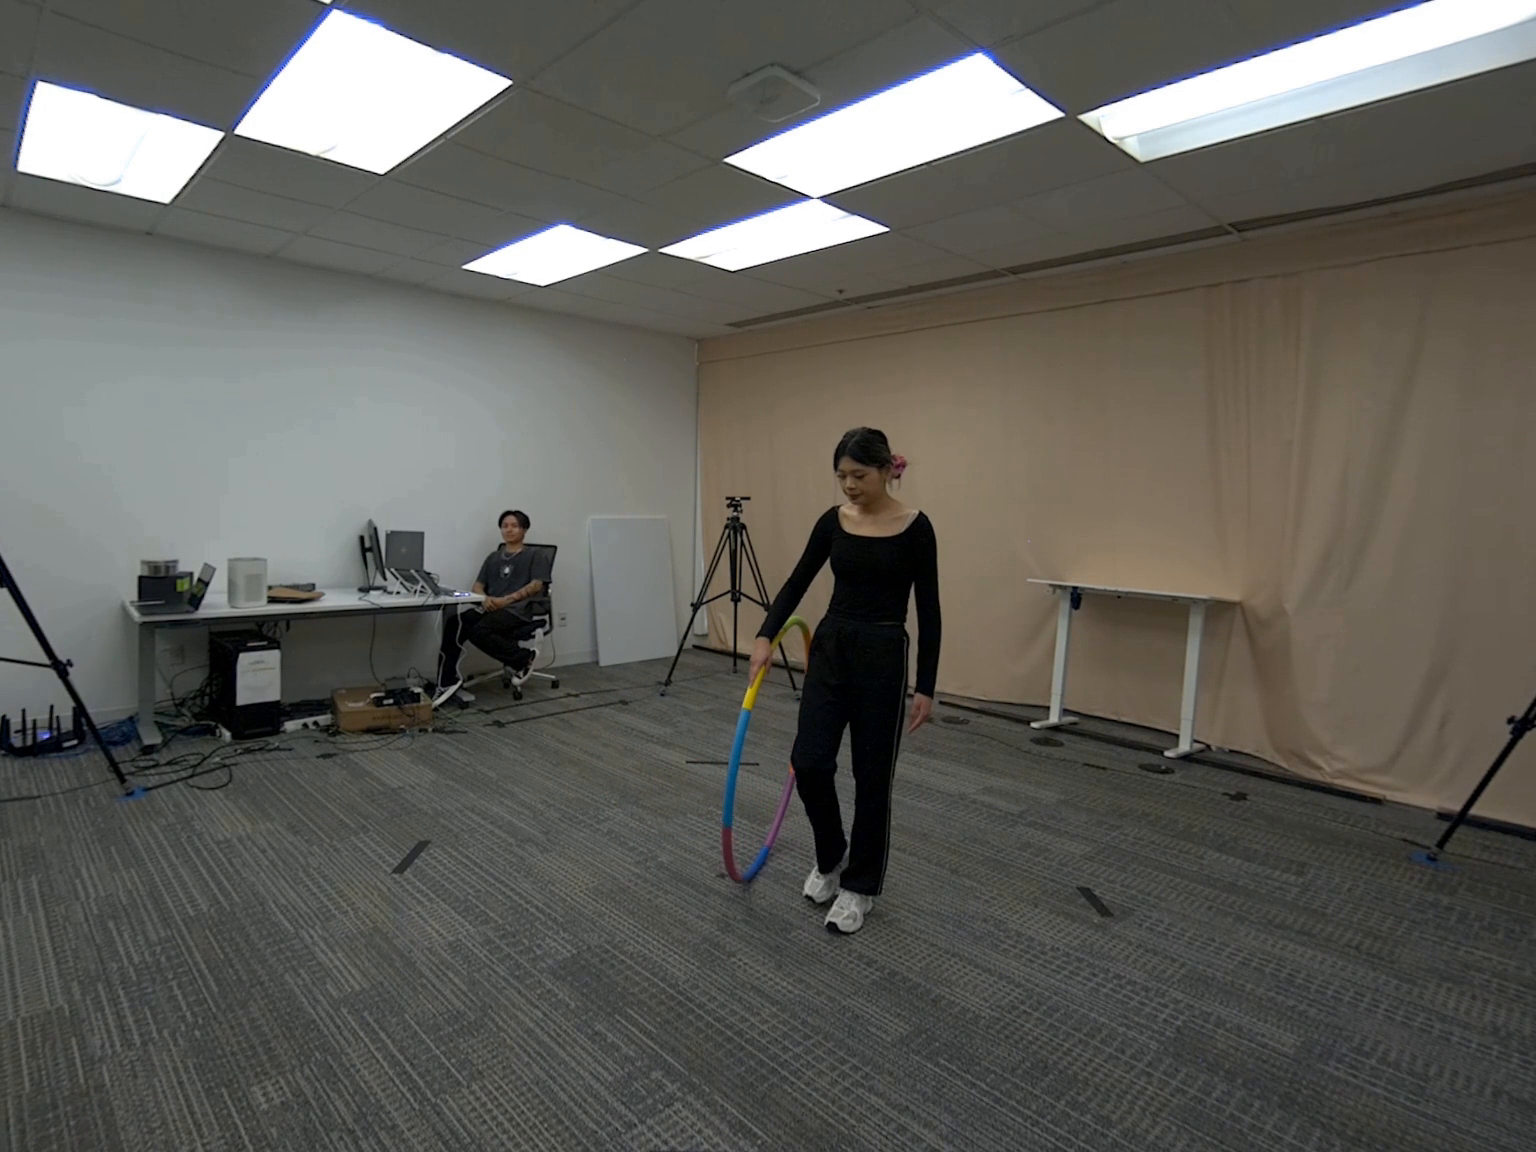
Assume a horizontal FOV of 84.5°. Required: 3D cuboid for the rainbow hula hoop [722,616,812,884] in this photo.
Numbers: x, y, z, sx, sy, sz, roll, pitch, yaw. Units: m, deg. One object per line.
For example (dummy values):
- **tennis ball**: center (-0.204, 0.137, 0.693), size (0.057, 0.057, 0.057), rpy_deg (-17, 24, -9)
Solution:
- **rainbow hula hoop**: center (0.013, 0.633, 3.121), size (0.036, 0.975, 0.968), rpy_deg (9, 6, 15)
